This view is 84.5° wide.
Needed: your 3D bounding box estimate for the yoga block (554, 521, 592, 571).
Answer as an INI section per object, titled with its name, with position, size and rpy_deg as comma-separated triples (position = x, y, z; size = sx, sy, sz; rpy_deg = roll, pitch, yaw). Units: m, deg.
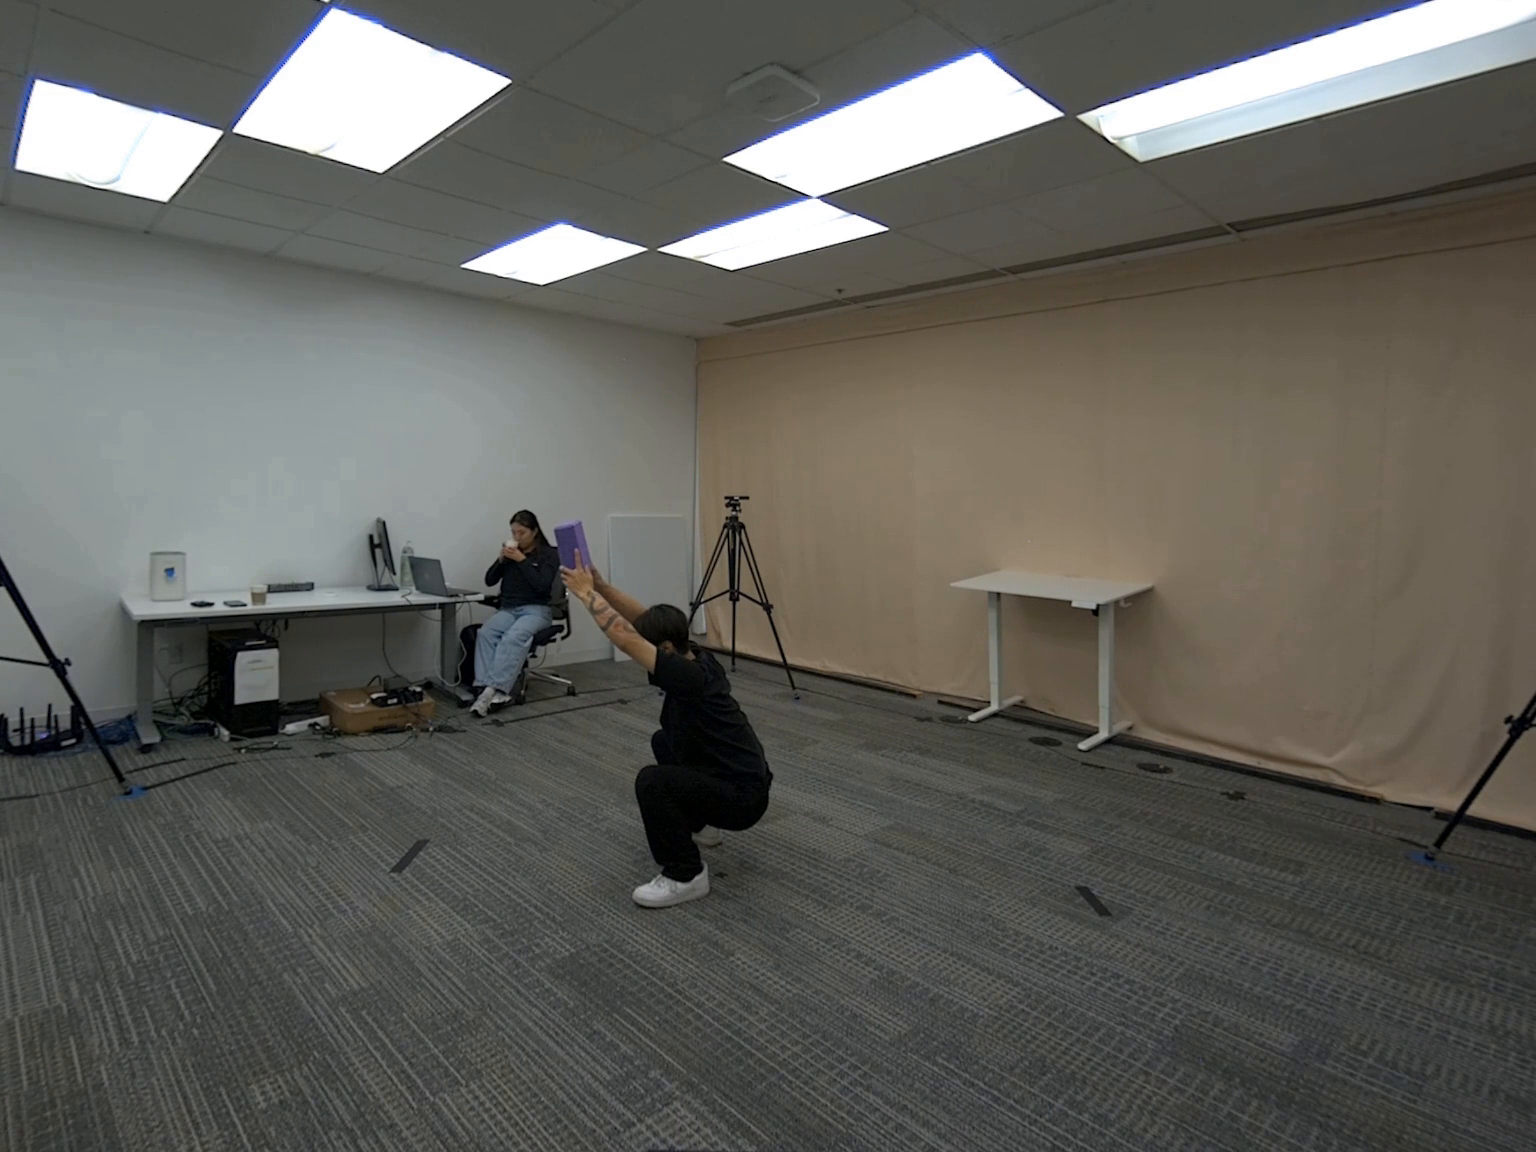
[yoga block]
position = -0.735, -0.090, 3.122
size = 0.077, 0.228, 0.149
rpy_deg = -10, 7, 9
